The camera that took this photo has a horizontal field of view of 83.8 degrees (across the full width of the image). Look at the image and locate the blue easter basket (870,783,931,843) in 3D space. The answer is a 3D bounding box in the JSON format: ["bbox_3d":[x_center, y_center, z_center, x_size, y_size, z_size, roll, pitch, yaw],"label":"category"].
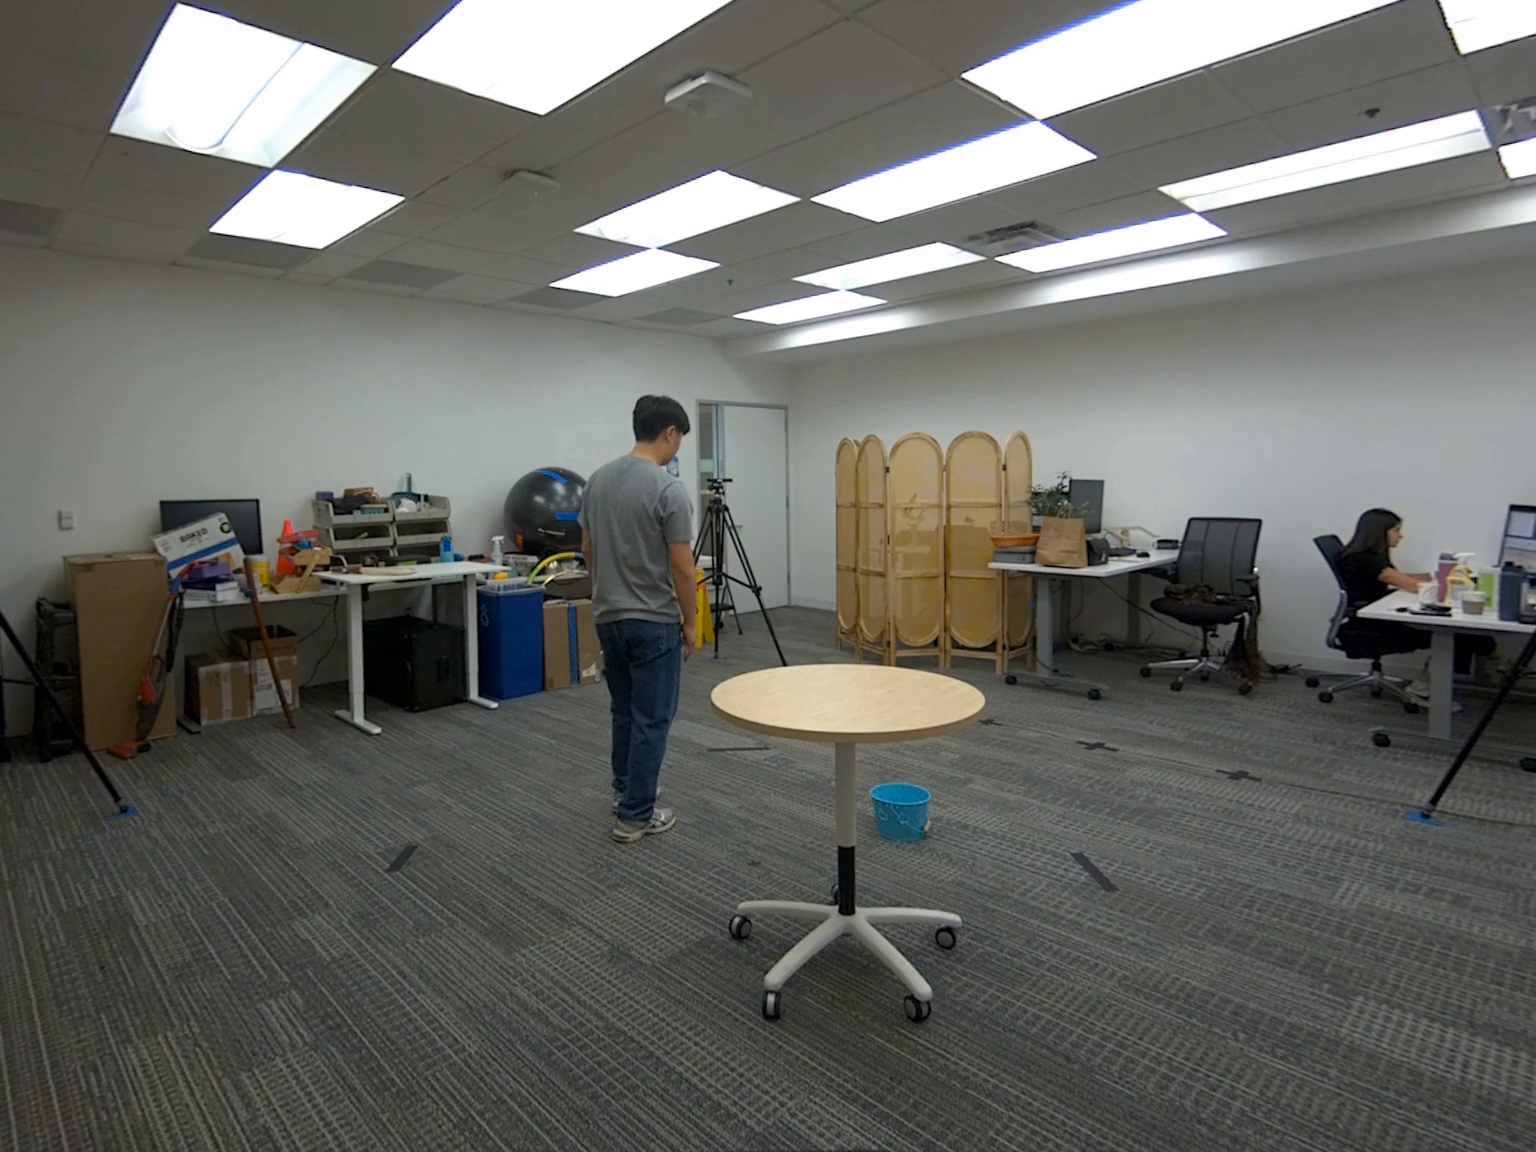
[{"bbox_3d":[0.522,0.925,3.349,0.243,0.155,0.245,-2,5,-2],"label":"blue easter basket"}]
